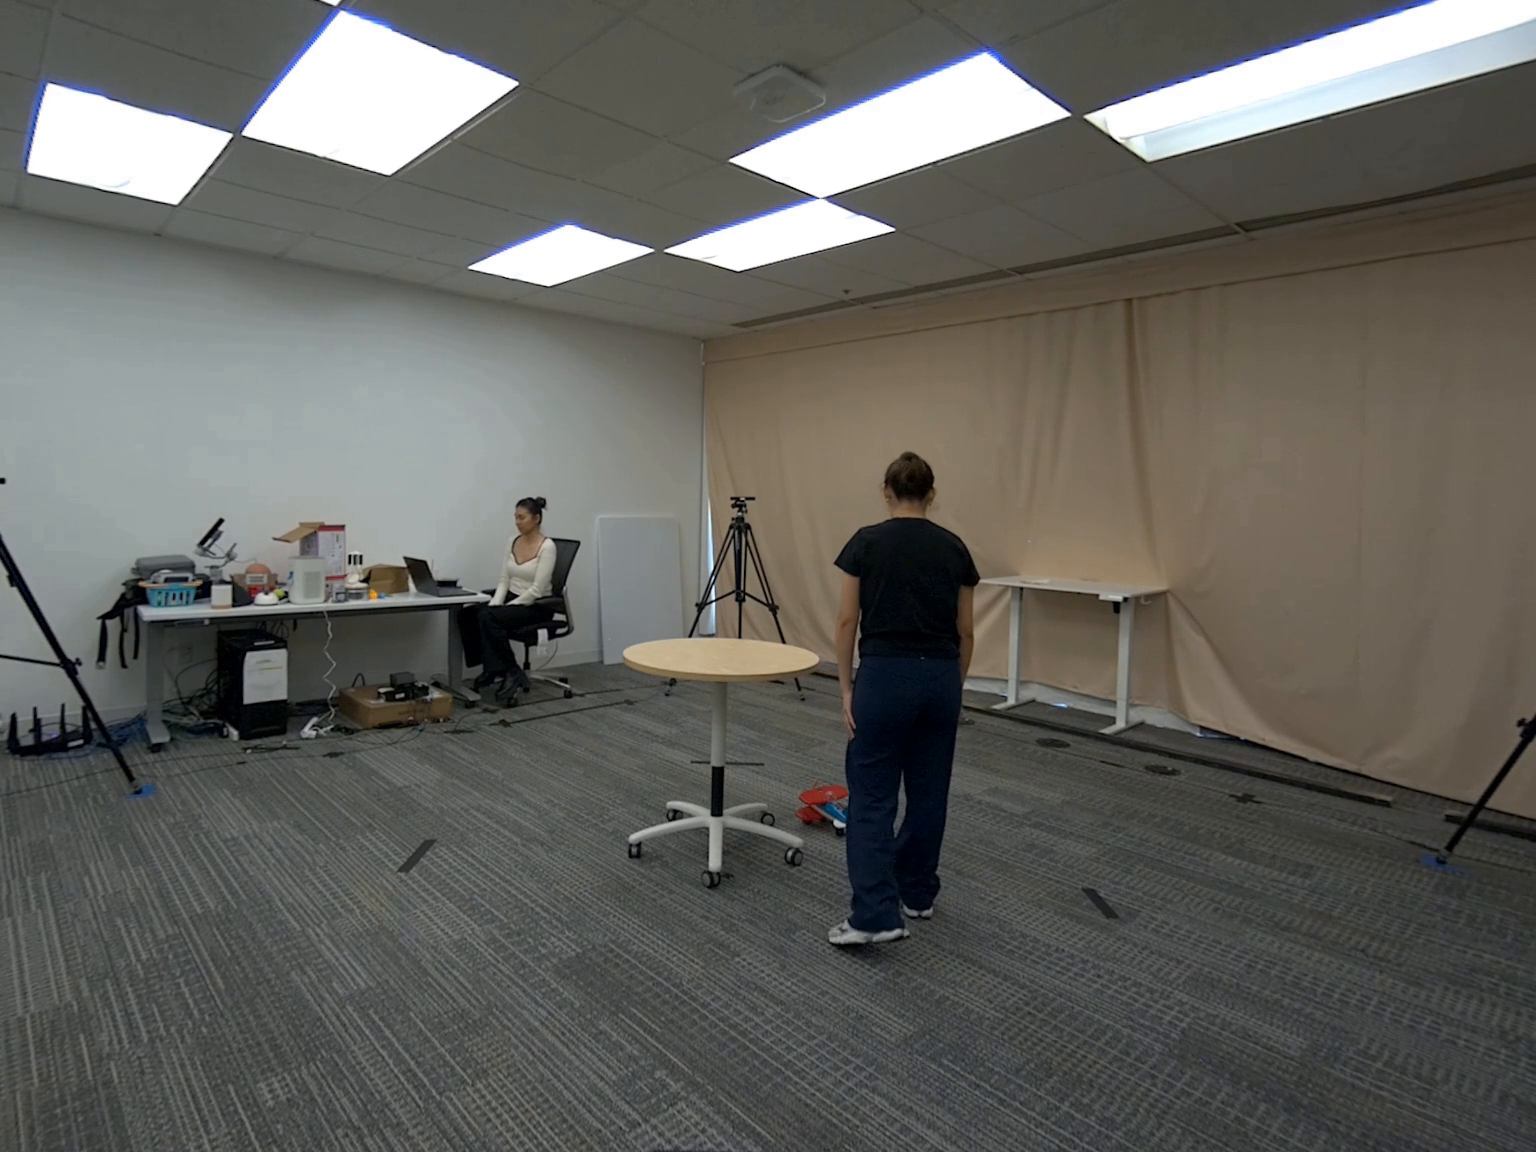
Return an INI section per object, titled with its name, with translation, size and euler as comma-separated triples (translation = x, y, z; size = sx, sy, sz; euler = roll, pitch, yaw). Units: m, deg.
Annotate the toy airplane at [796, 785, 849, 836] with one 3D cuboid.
[toy airplane]
translation = 0.259, 1.001, 3.591
size = 0.264, 0.156, 0.247
euler = 1, 3, 24
